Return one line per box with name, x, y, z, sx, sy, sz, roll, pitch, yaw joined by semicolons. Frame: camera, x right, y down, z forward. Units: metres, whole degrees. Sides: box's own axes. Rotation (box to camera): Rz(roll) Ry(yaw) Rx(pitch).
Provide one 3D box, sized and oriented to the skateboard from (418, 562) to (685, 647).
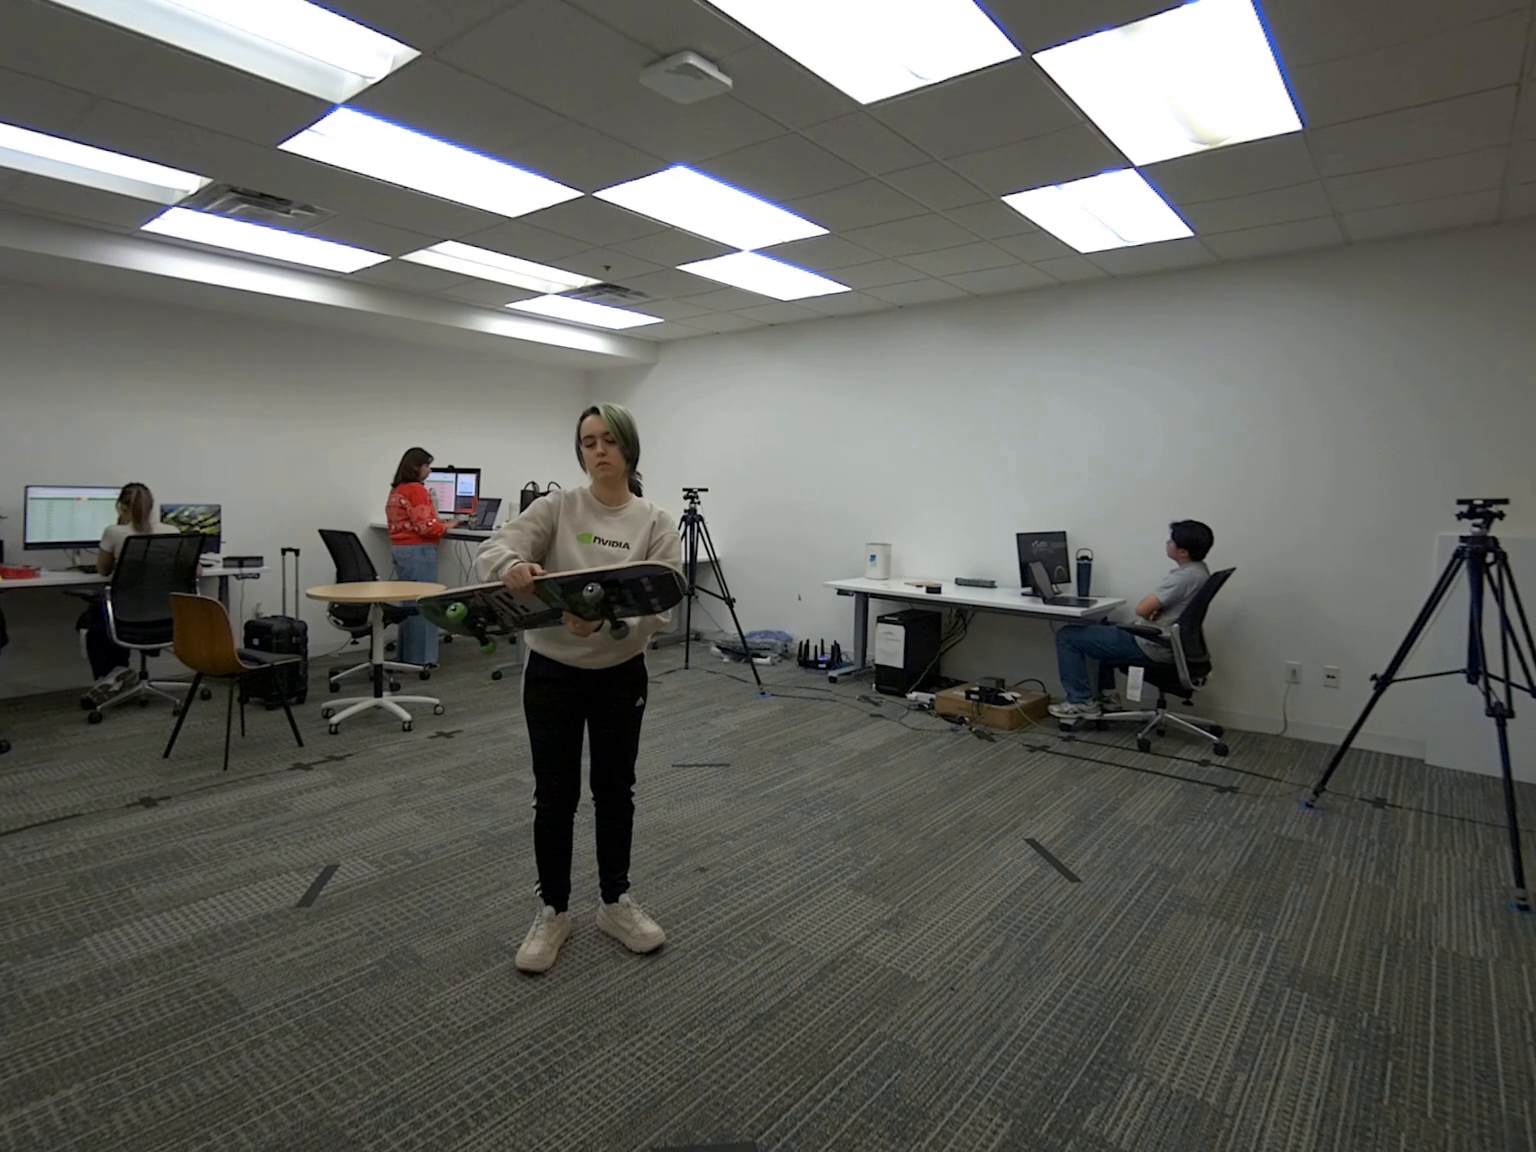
skateboard;-0.589;0.090;2.196;0.798;0.113;0.186;-7;-41;17
